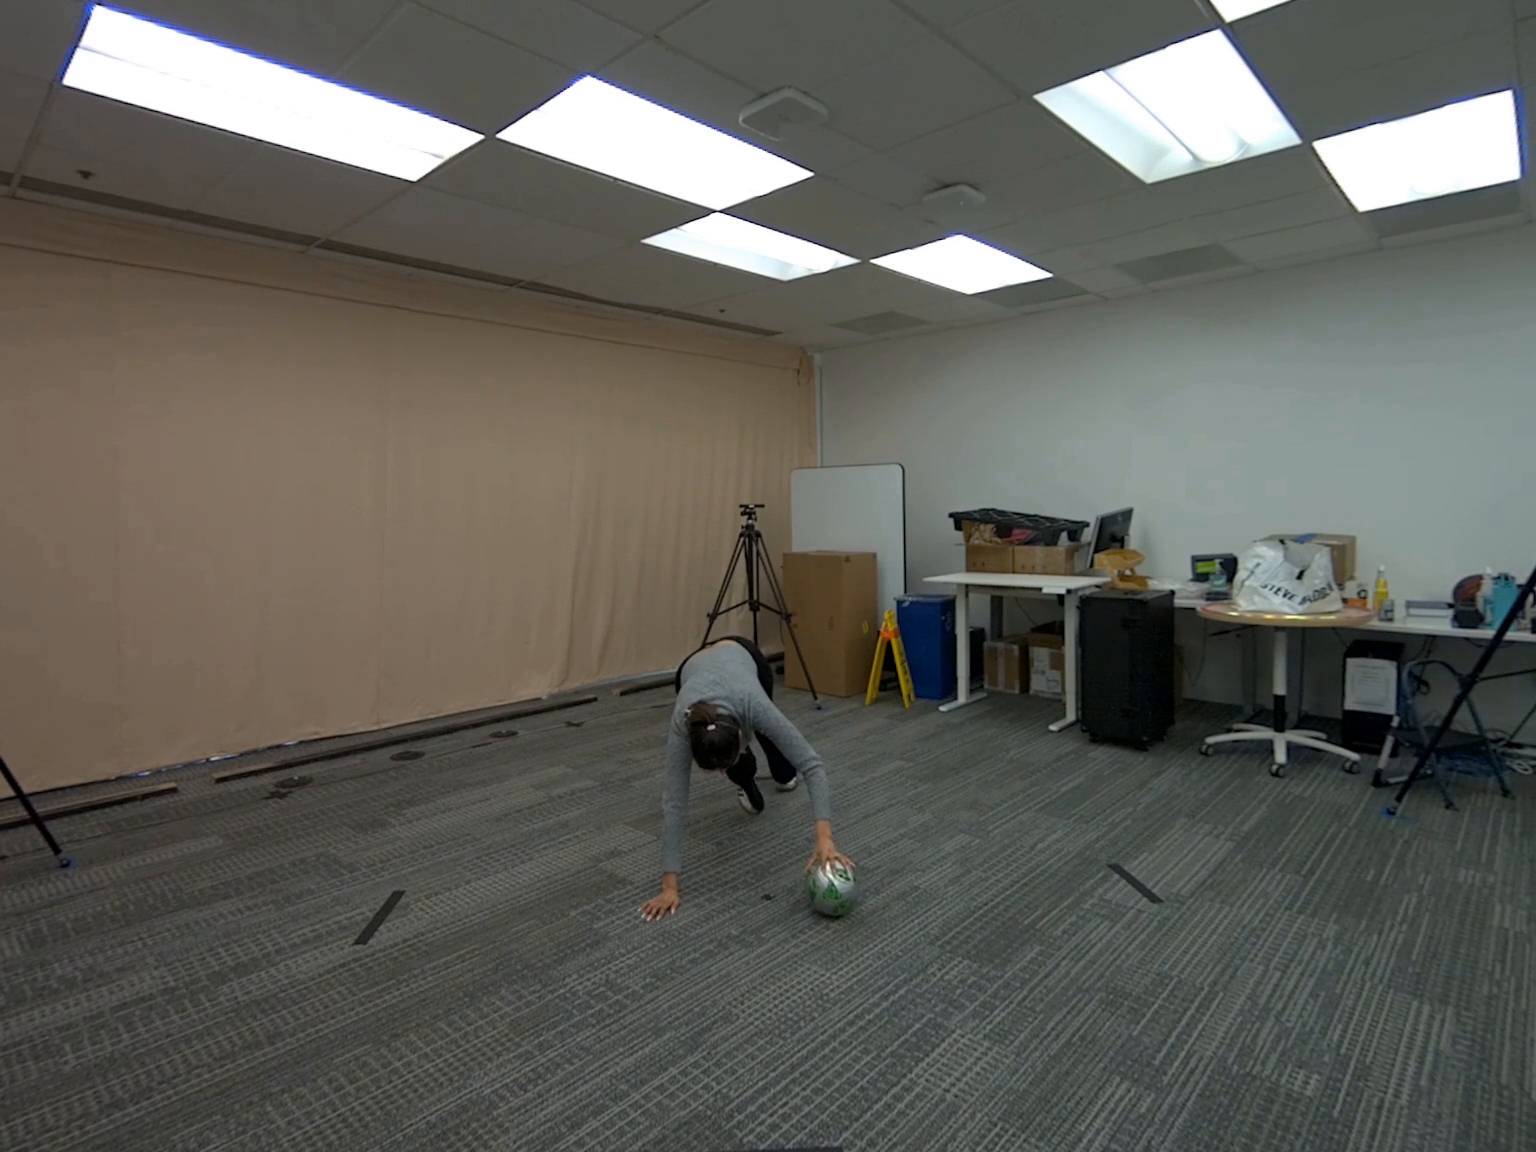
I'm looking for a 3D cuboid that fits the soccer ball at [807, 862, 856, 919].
[{"bbox_3d":[0.222,1.052,2.859,0.187,0.187,0.188,-1,4,-2],"label":"soccer ball"}]
